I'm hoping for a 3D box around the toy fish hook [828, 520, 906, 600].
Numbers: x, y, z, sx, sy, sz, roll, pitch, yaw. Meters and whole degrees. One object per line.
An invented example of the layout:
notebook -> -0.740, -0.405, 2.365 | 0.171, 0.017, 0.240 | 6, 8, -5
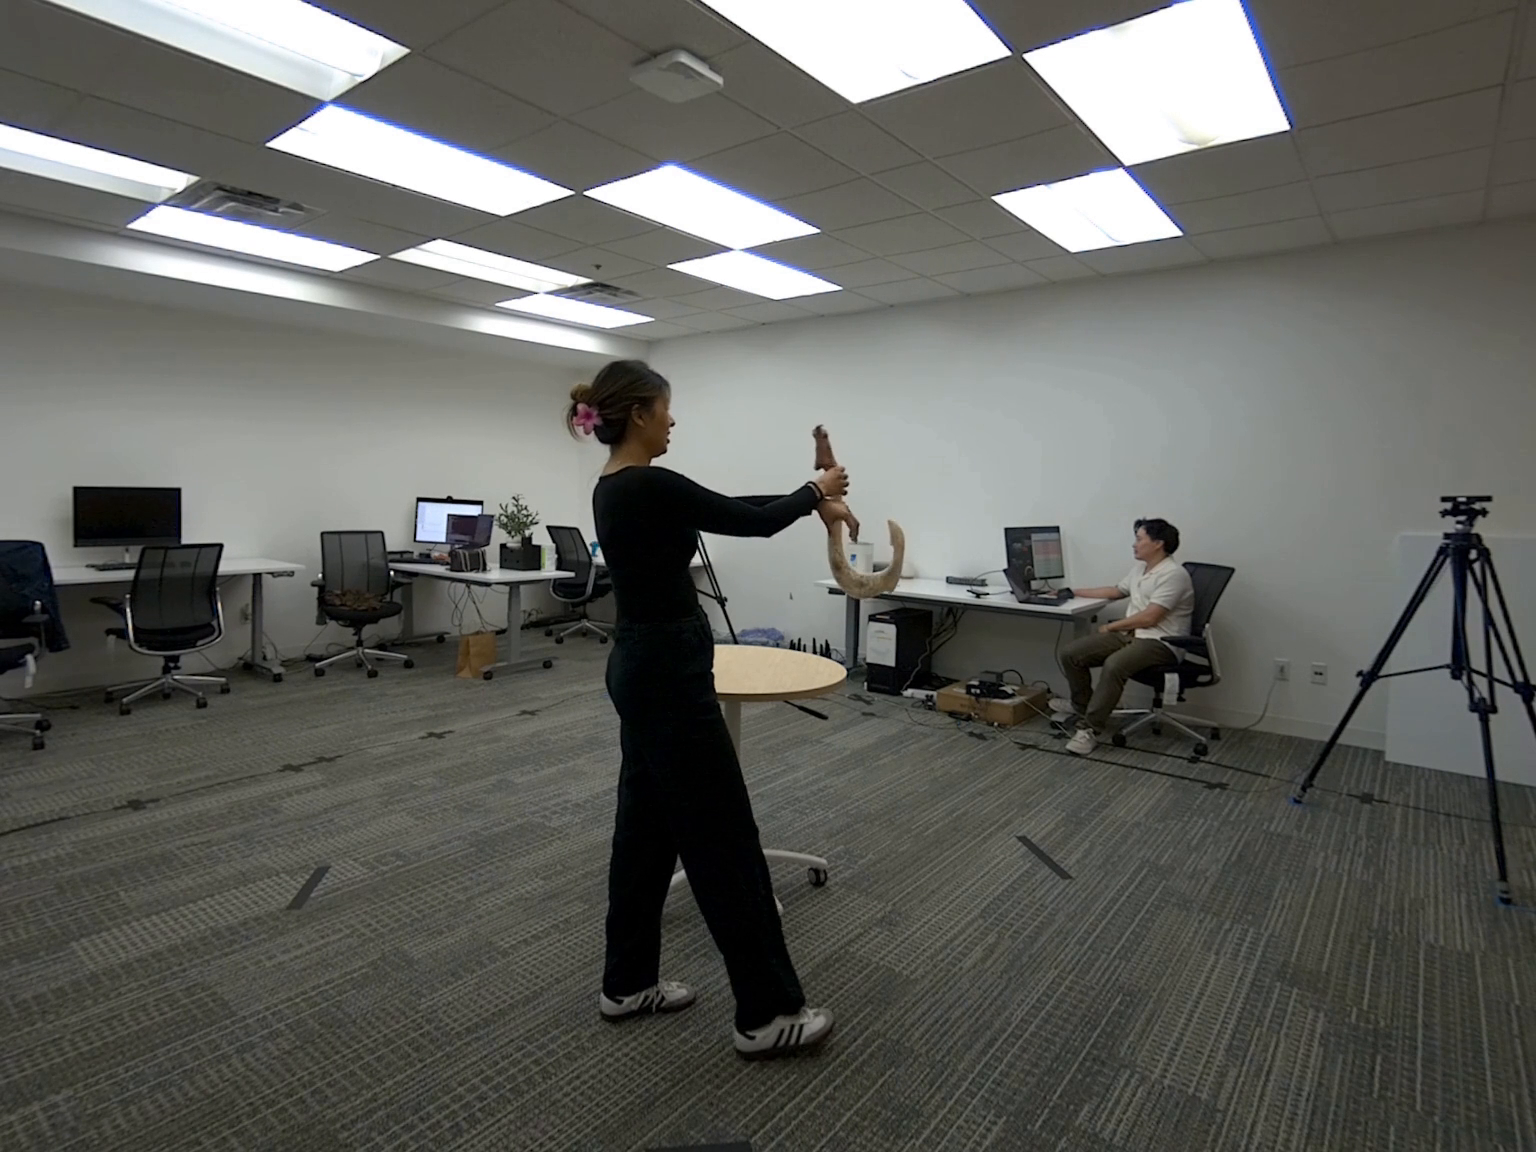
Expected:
toy fish hook -> 0.236, -0.197, 2.345 | 0.228, 0.511, 0.047 | -16, -8, 24
